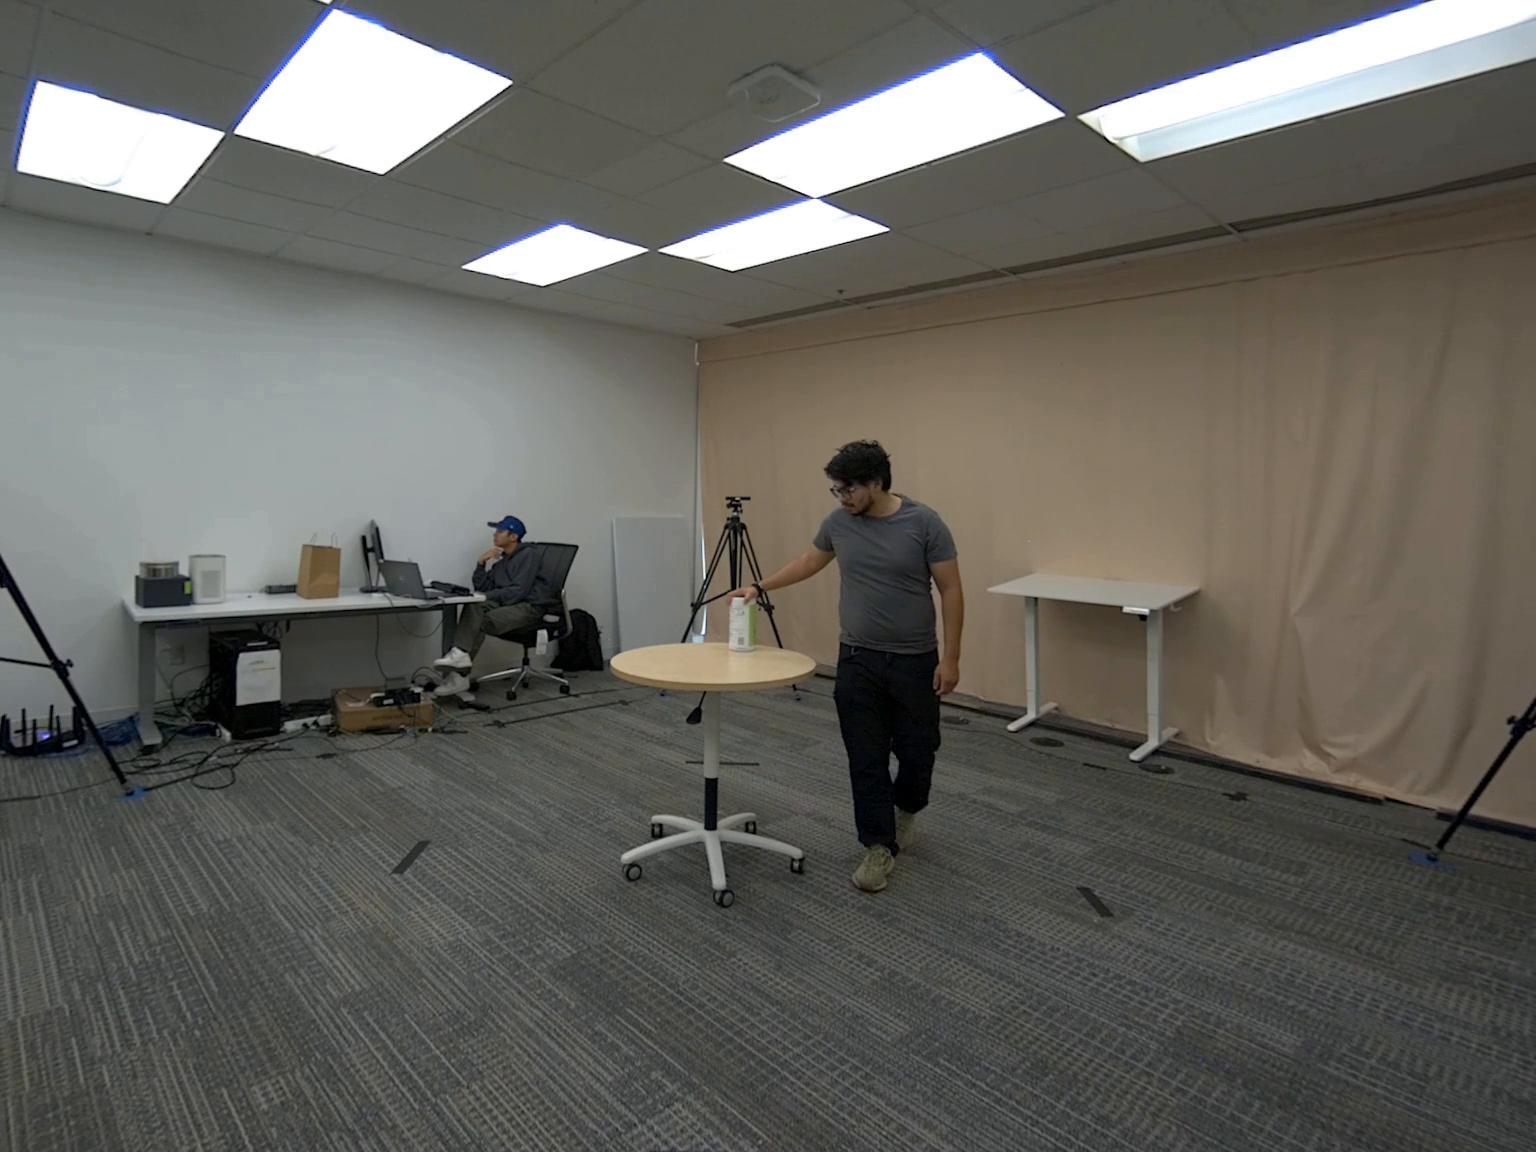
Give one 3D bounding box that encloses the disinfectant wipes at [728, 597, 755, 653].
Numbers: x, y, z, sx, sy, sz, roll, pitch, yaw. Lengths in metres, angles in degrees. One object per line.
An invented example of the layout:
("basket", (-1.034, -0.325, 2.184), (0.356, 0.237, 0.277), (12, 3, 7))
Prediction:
("disinfectant wipes", (-0.105, 0.189, 3.383), (0.118, 0.217, 0.118), (1, 3, -1))
